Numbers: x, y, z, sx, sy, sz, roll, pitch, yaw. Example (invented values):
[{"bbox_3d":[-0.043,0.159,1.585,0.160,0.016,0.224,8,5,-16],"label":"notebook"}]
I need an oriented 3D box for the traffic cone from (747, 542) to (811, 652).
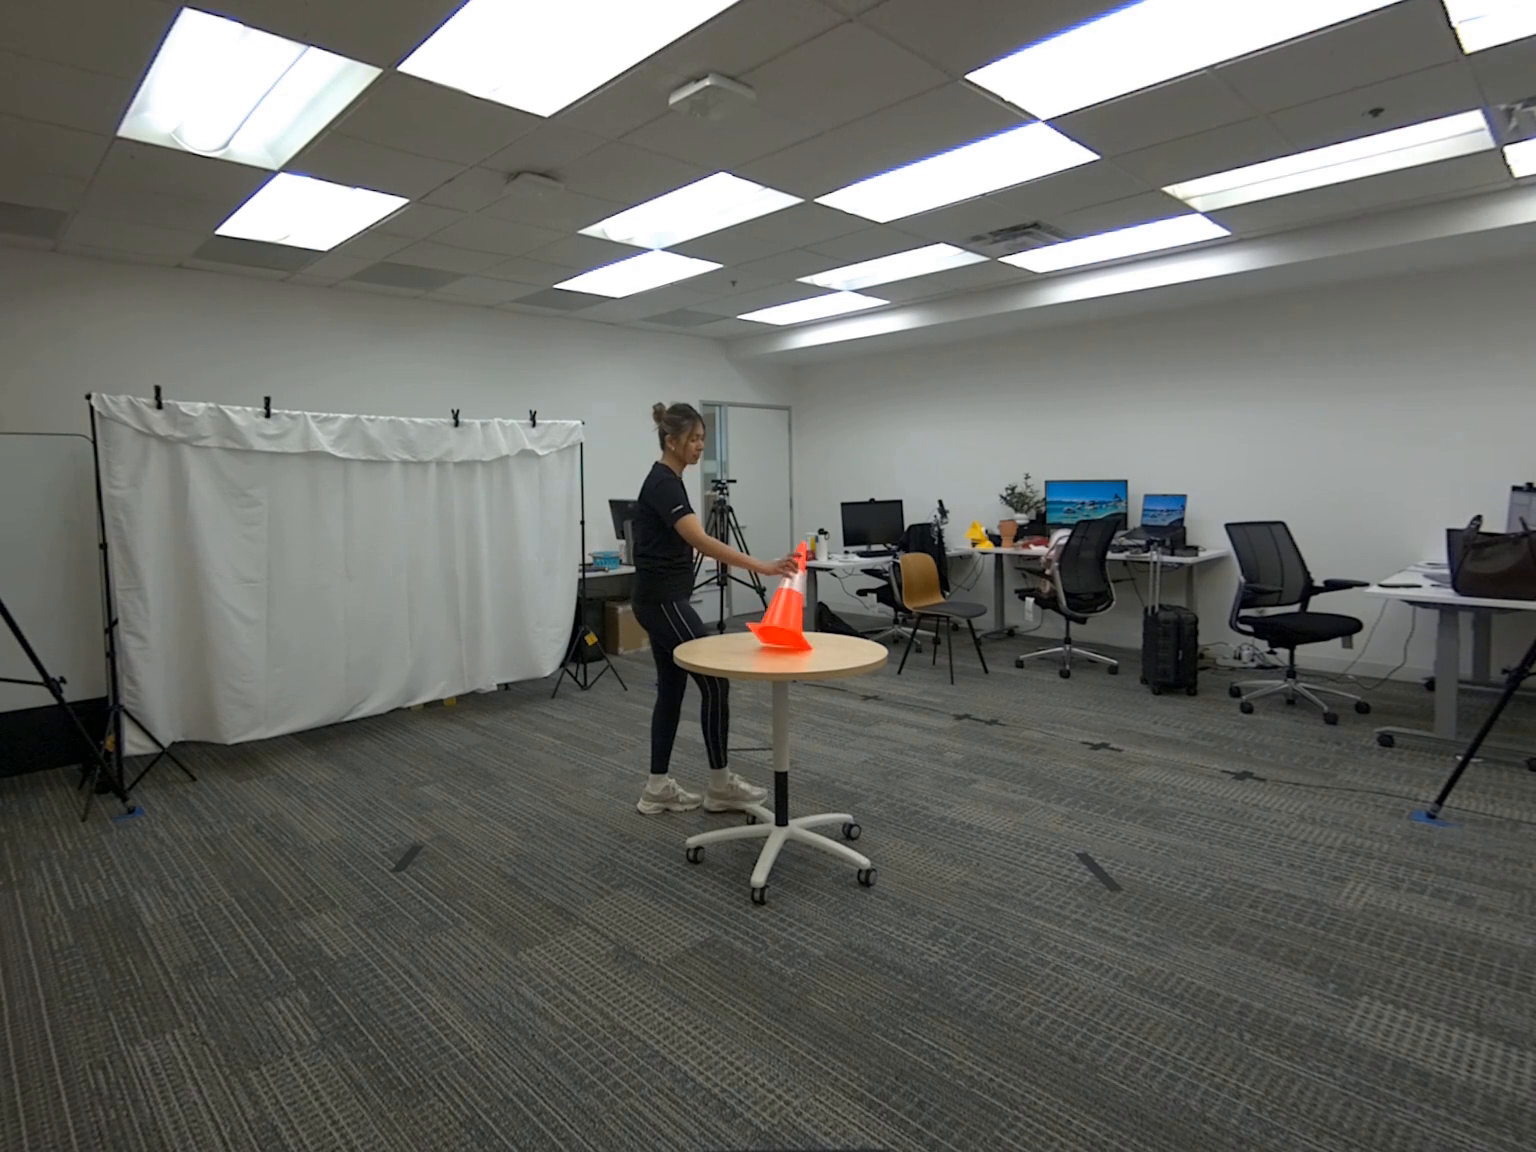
[{"bbox_3d":[0.092,0.050,3.115,0.210,0.389,0.196,3,-25,26],"label":"traffic cone"}]
